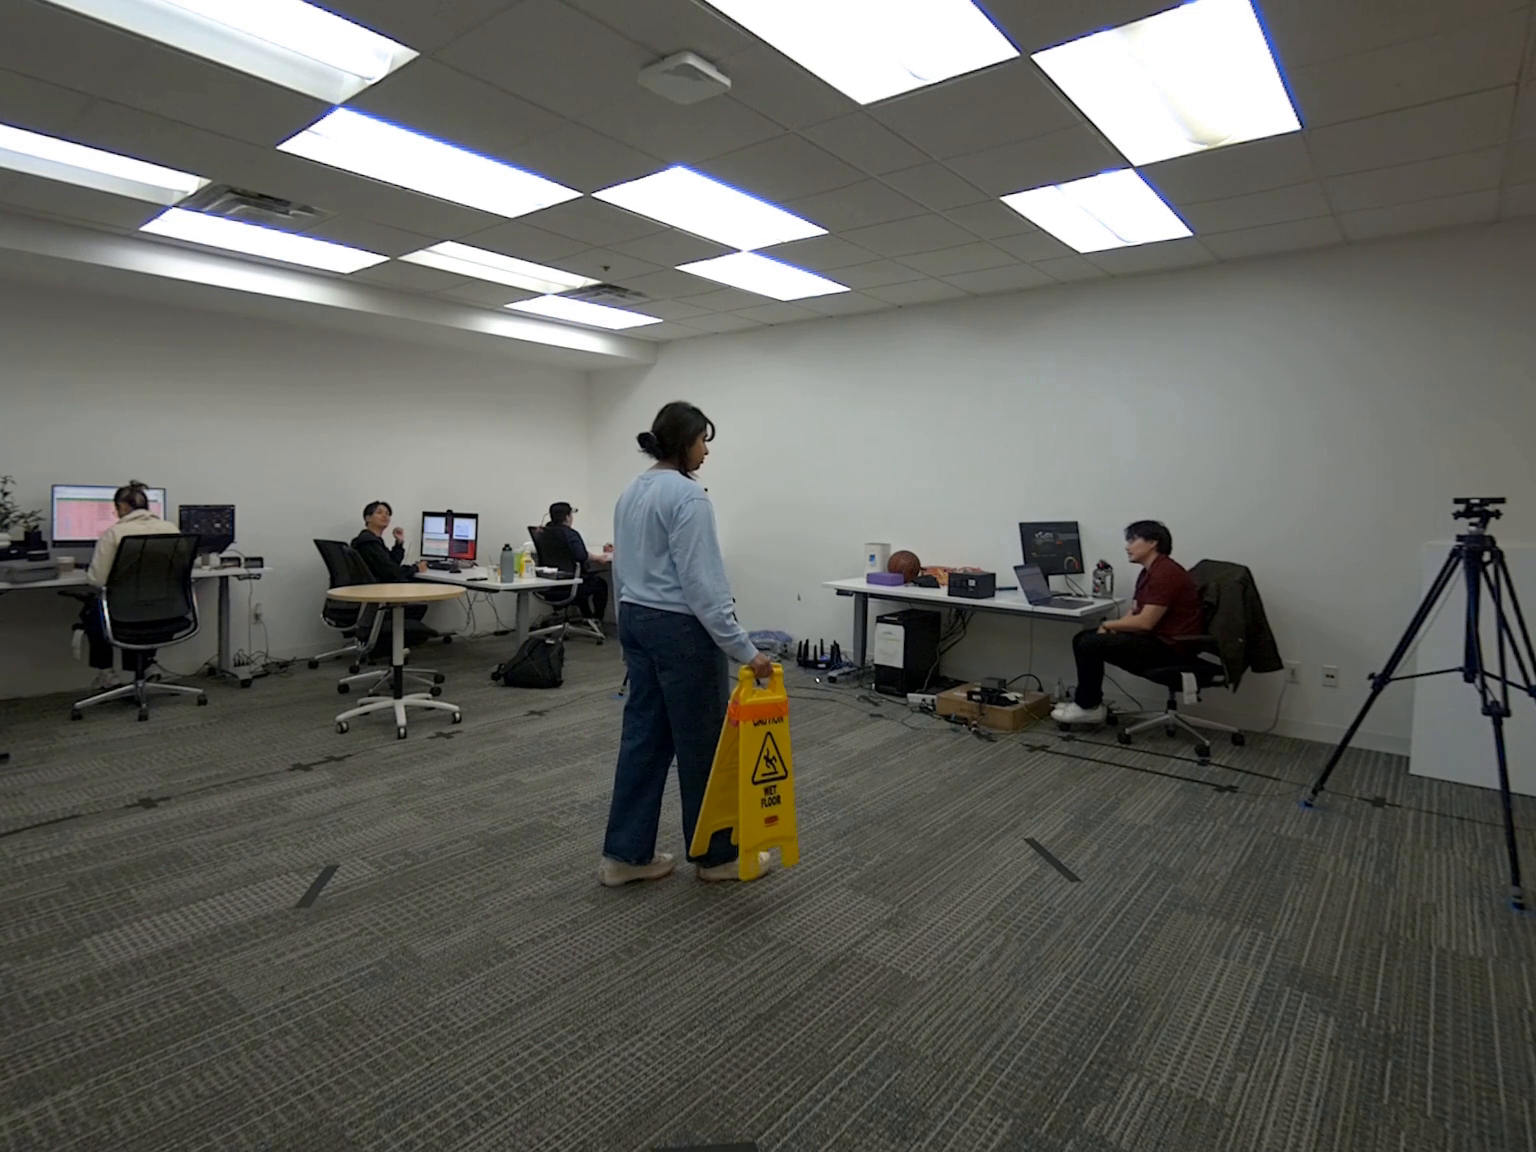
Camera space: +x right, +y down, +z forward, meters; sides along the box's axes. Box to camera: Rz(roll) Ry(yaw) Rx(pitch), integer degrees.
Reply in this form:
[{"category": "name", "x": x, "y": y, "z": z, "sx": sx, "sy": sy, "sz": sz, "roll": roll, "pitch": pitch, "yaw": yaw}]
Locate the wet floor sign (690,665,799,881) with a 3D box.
[{"category": "wet floor sign", "x": -0.062, "y": 0.611, "z": 2.819, "sx": 0.300, "sy": 0.646, "sz": 0.273, "roll": 6, "pitch": 0, "yaw": 43}]
